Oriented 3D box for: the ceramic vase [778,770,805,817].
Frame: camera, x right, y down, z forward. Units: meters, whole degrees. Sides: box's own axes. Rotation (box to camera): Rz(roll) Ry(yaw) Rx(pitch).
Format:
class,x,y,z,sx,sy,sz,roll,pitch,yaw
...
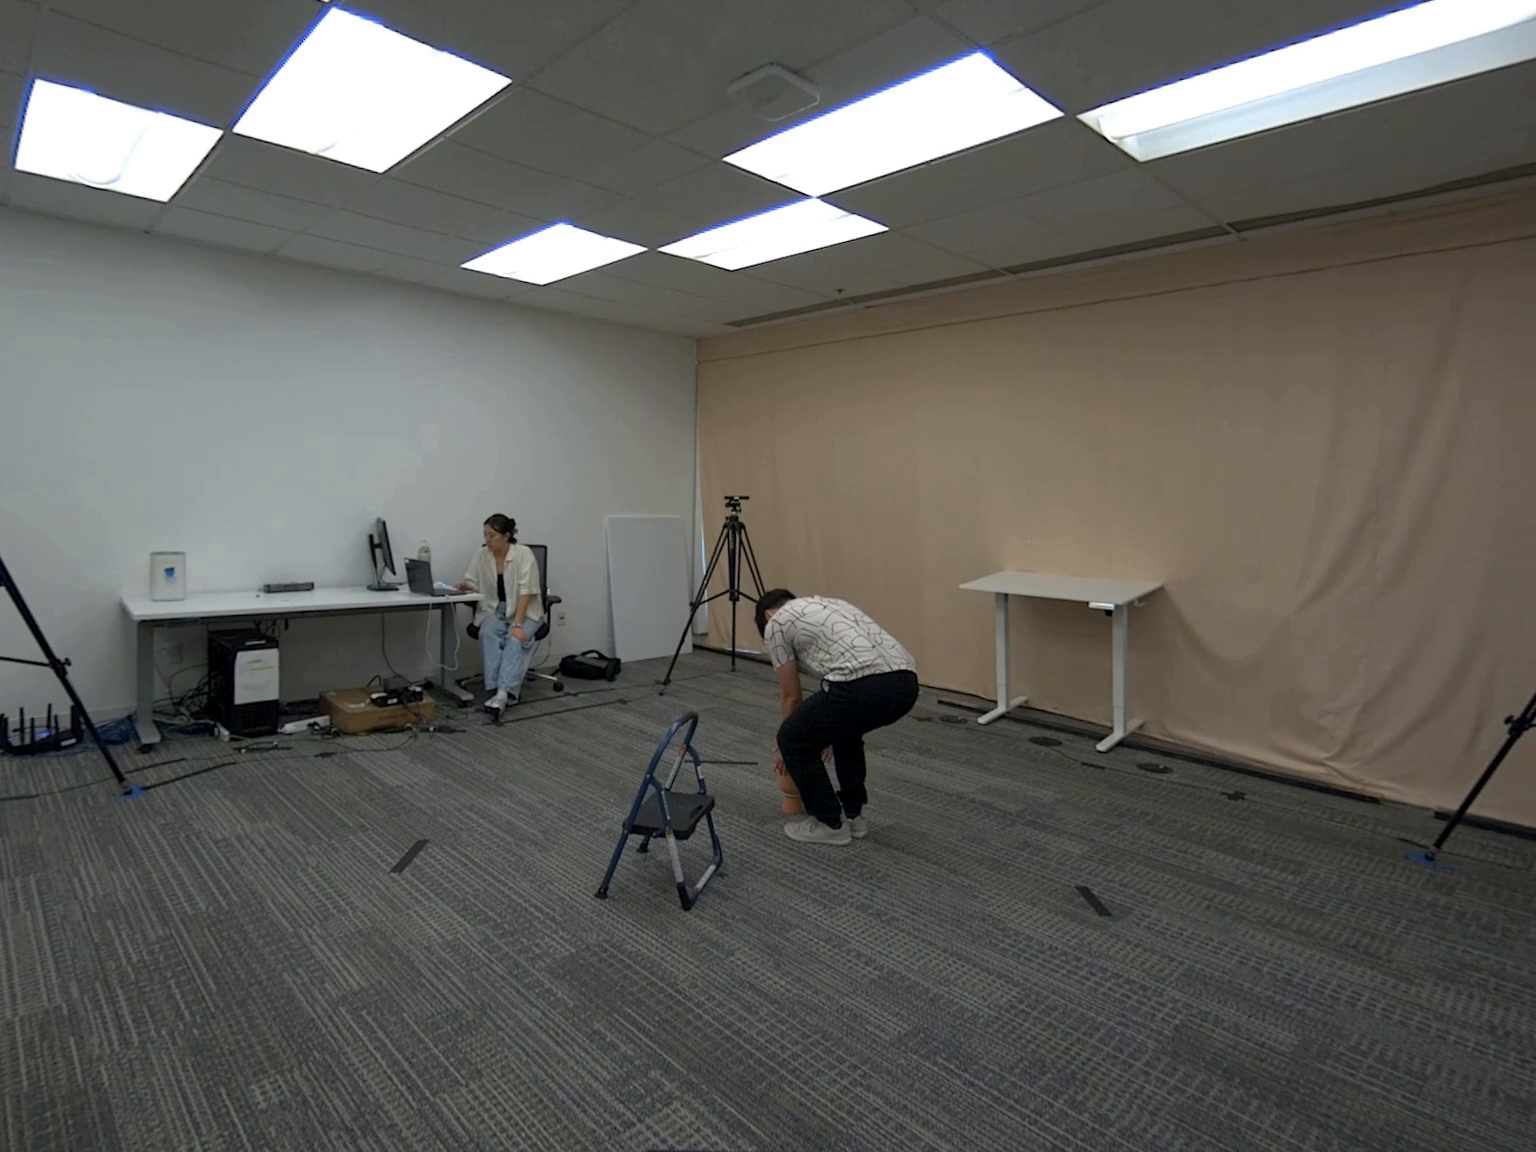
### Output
class,x,y,z,sx,sy,sz,roll,pitch,yaw
ceramic vase,0.101,0.940,3.772,0.132,0.219,0.162,-1,4,-25
